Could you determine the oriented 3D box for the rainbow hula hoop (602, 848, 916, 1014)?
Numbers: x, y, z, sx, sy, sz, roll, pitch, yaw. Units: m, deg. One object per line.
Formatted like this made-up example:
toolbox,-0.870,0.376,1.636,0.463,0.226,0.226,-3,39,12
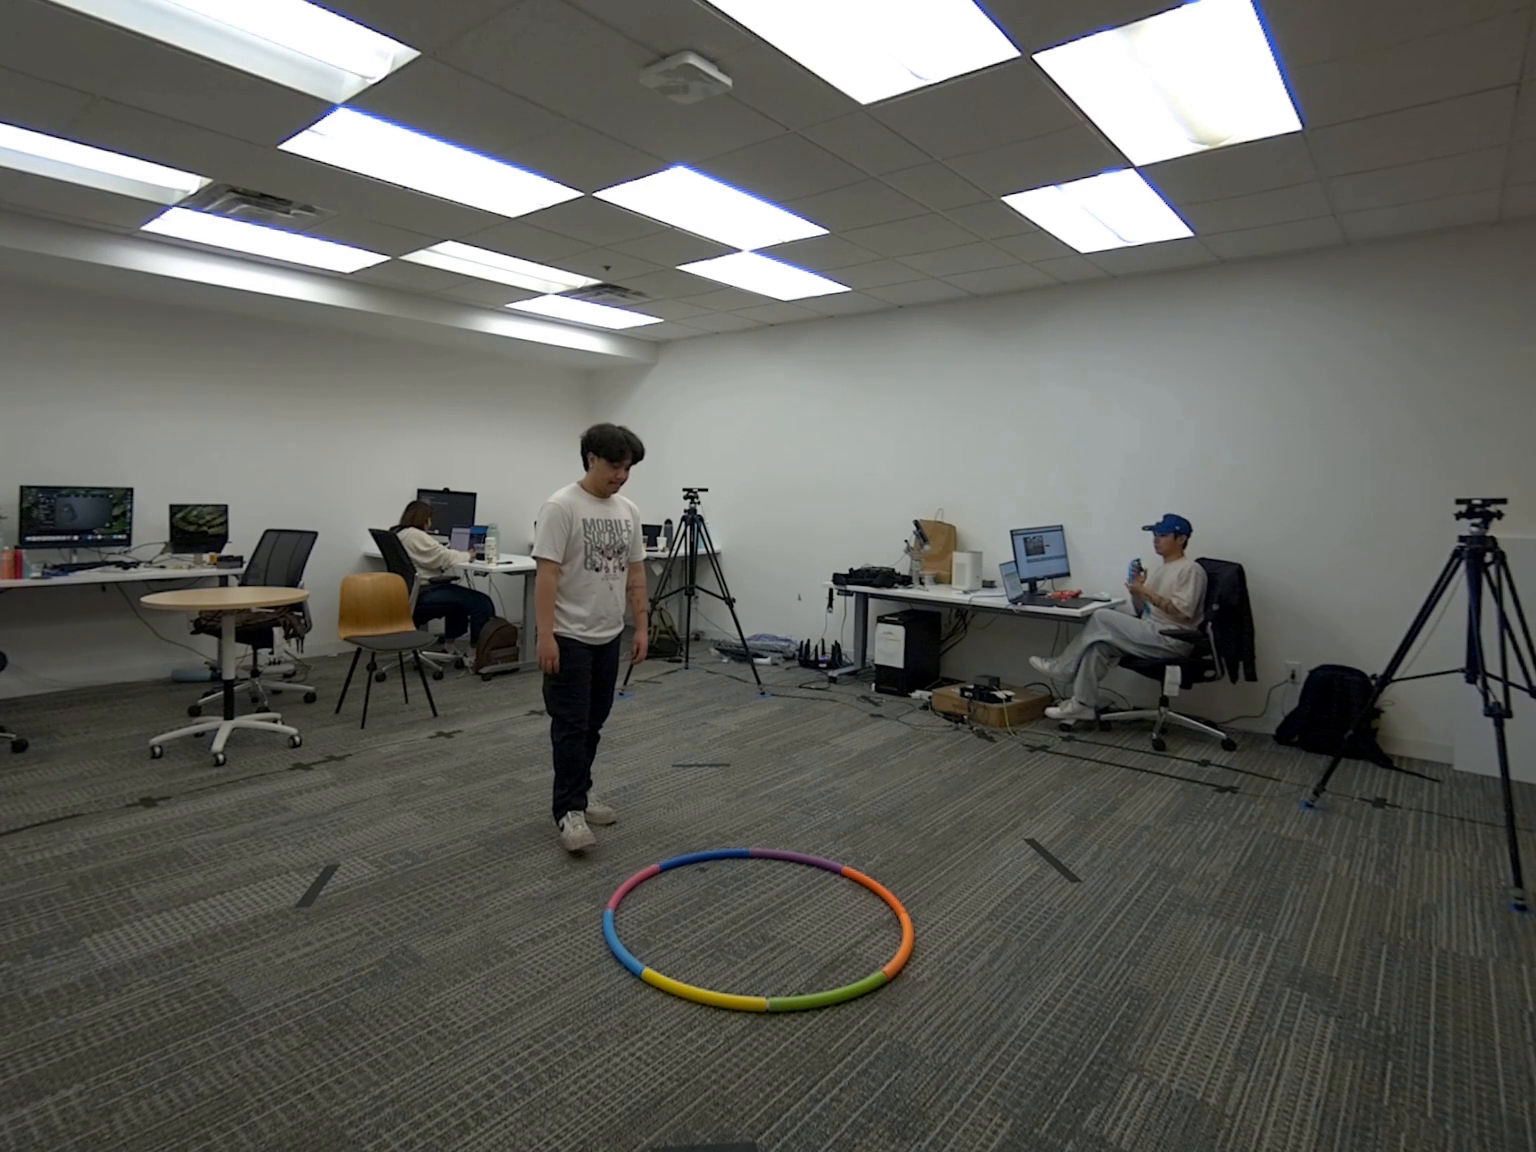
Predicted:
rainbow hula hoop,-0.041,1.082,2.742,0.984,0.051,0.990,0,5,-2
